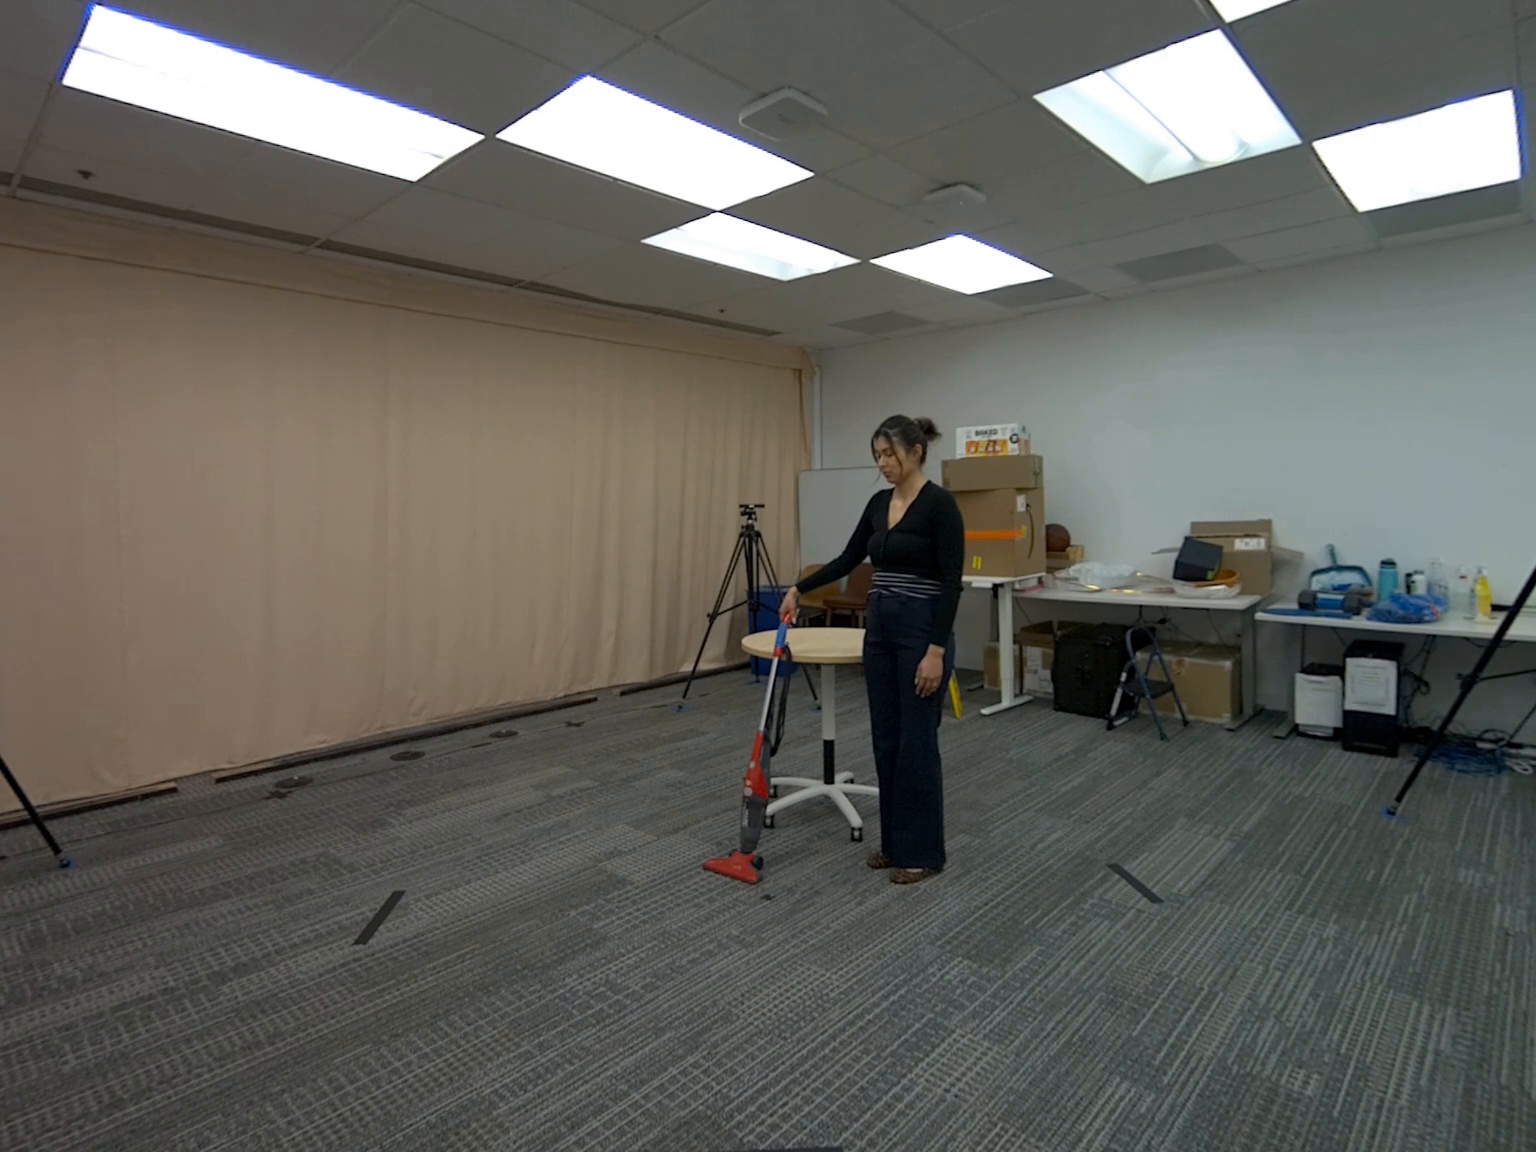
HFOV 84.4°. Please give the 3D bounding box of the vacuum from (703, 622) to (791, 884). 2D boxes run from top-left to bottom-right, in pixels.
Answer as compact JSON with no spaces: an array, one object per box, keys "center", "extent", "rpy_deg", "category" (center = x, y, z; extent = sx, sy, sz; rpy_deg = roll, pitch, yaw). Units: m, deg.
[{"center":[-0.002,0.629,3.340],"extent":[0.261,1.054,0.139],"rpy_deg":[1,-19,40],"category":"vacuum"}]
